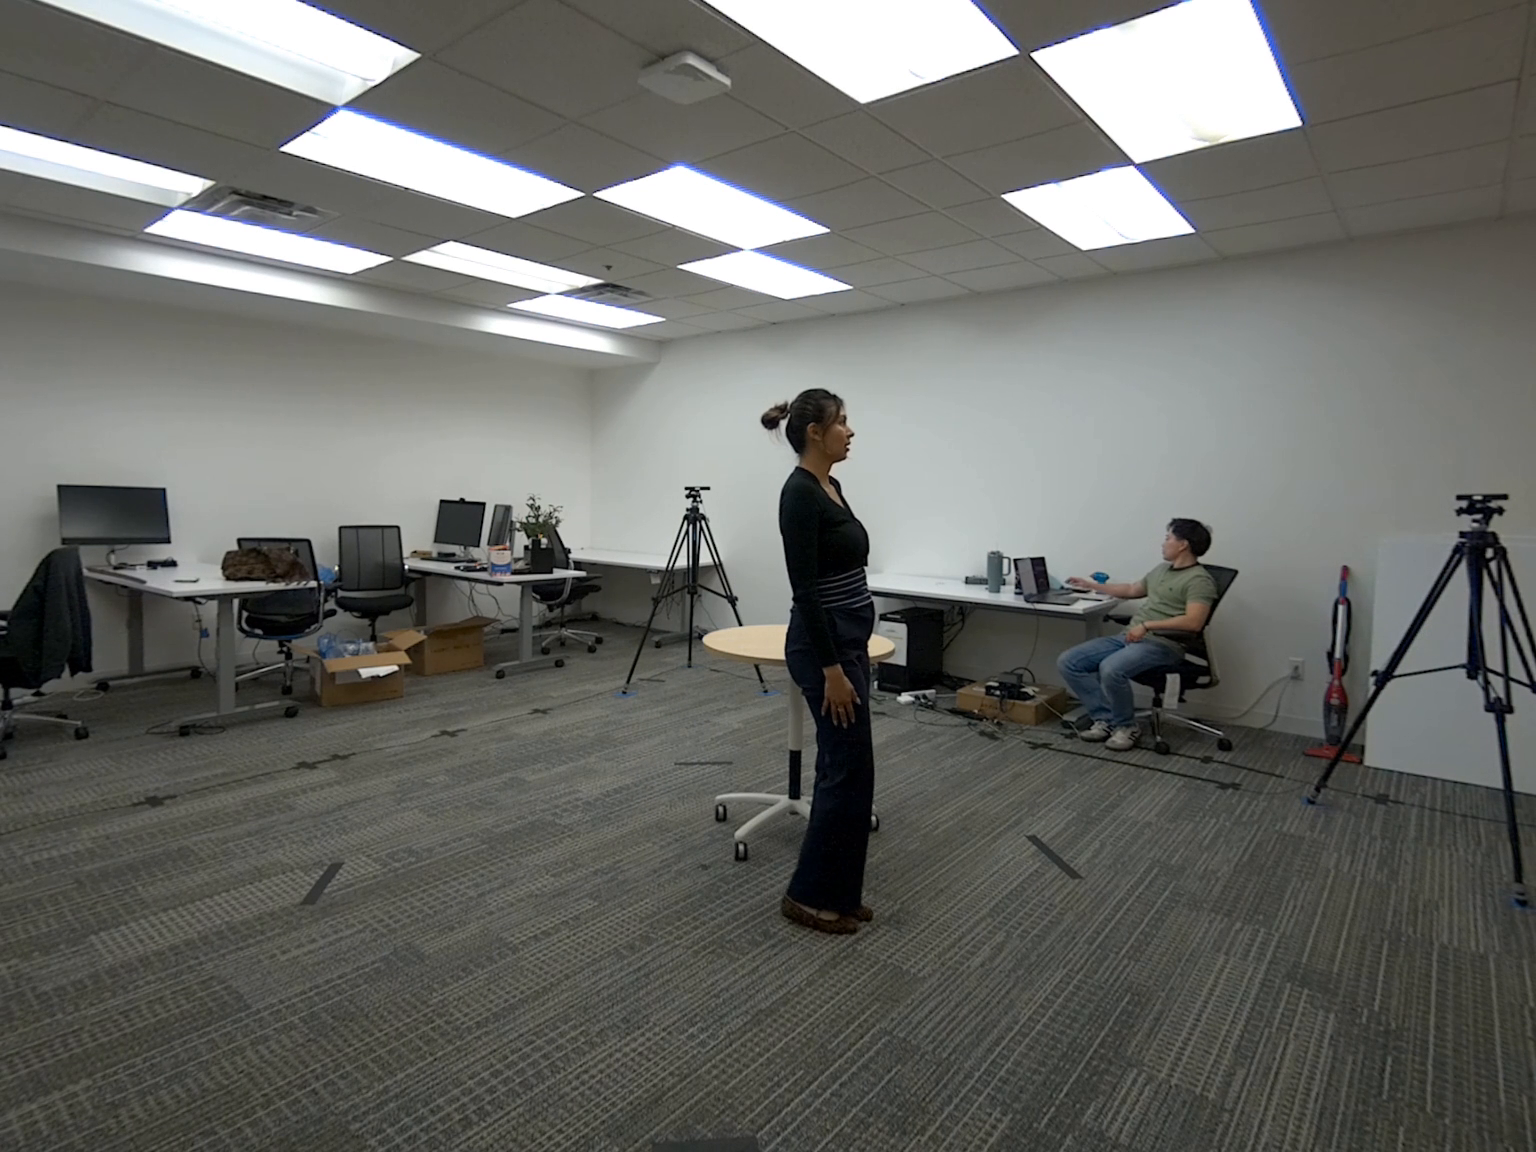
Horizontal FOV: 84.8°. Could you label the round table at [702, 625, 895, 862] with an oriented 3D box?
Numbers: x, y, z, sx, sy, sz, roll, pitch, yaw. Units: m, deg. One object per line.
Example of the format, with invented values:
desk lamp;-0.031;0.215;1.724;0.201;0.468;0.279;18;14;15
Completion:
round table;0.104;0.650;3.430;0.763;0.791;0.768;1;4;-2
